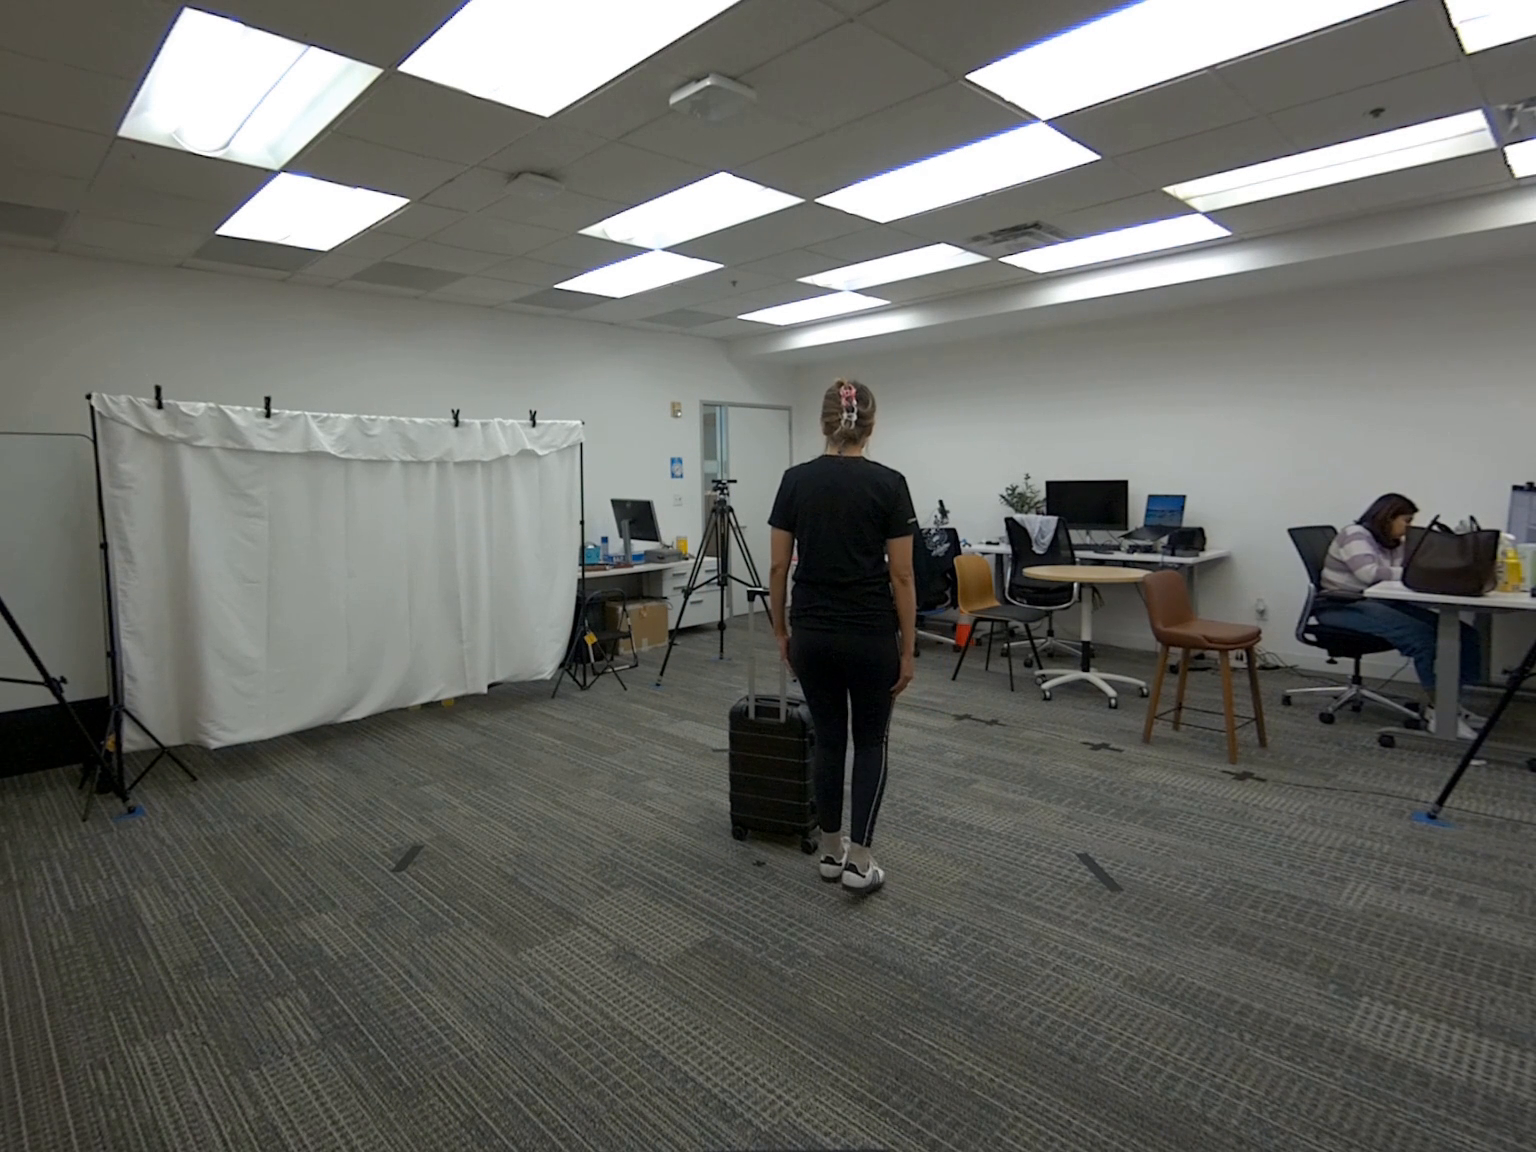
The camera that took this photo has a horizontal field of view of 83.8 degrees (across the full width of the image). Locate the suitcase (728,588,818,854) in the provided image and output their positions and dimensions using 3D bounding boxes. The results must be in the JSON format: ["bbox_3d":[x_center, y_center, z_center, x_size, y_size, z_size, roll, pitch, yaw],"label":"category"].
[{"bbox_3d":[0.038,0.543,3.353,0.392,0.978,0.251,-1,1,25],"label":"suitcase"}]
